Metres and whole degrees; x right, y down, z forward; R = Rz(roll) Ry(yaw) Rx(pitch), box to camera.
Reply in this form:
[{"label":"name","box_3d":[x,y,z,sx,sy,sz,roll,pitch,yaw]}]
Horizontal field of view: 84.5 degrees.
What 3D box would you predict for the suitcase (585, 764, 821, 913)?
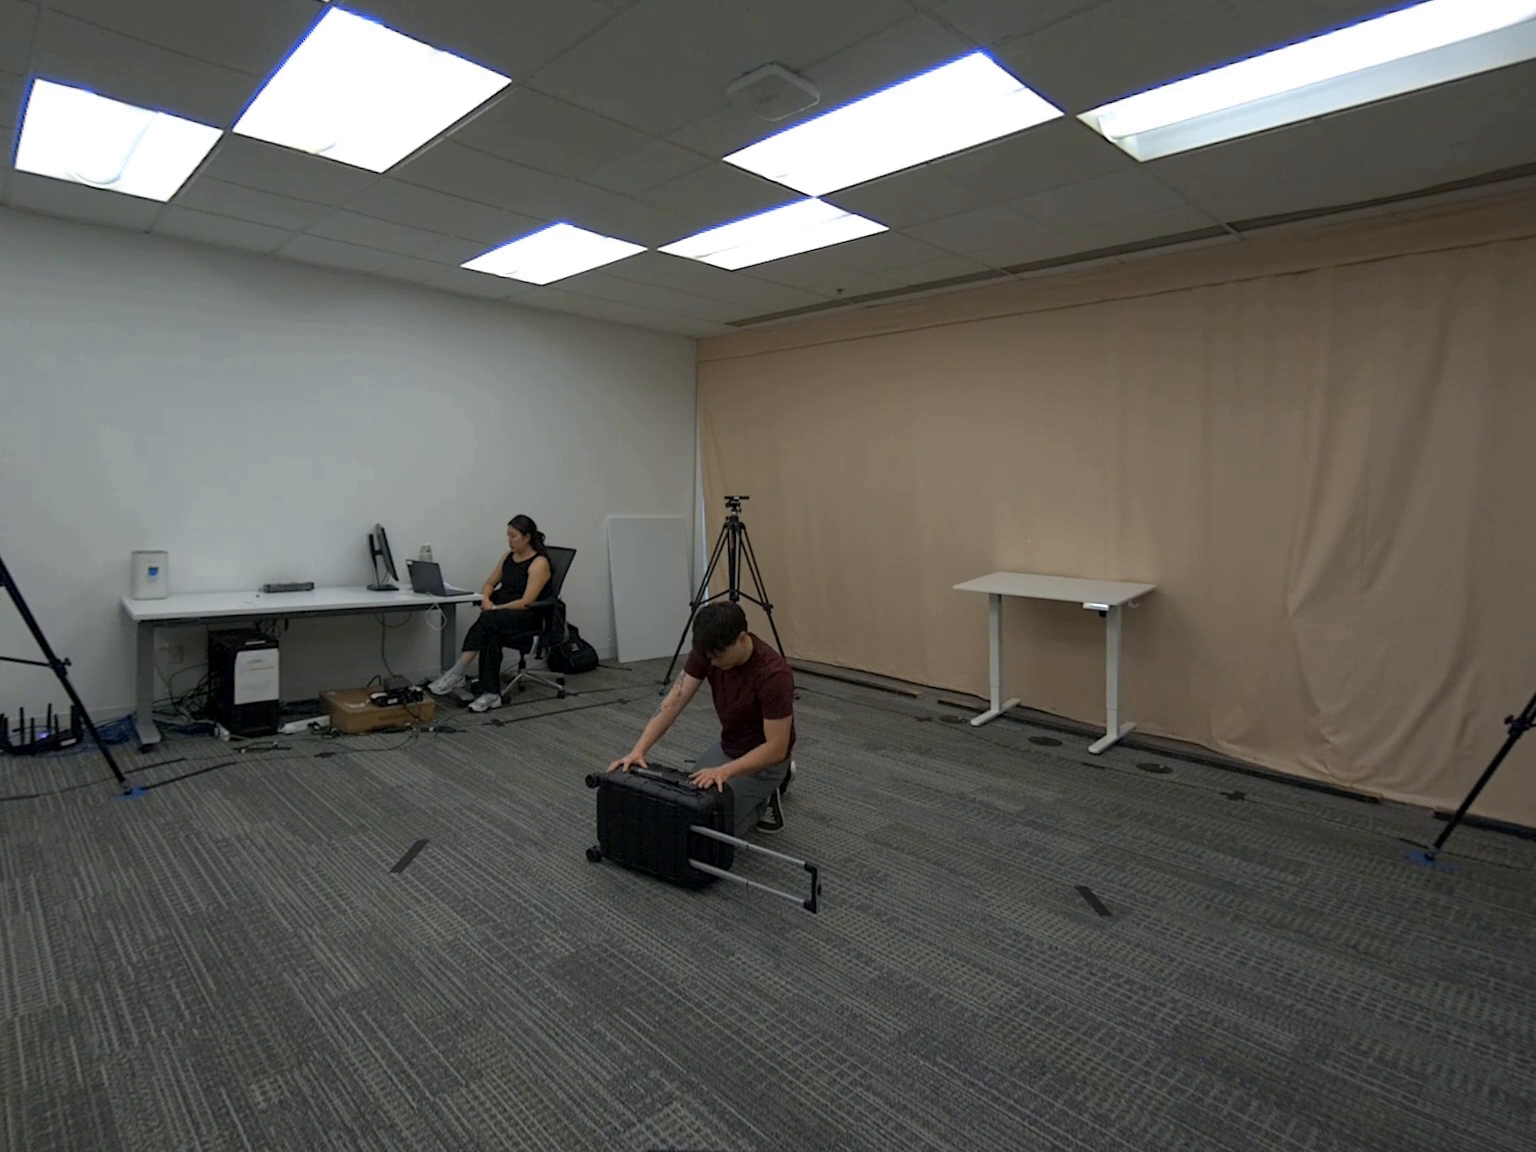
[{"label":"suitcase","box_3d":[-0.225,0.927,3.007,1.002,0.382,0.252,6,7,33]}]
